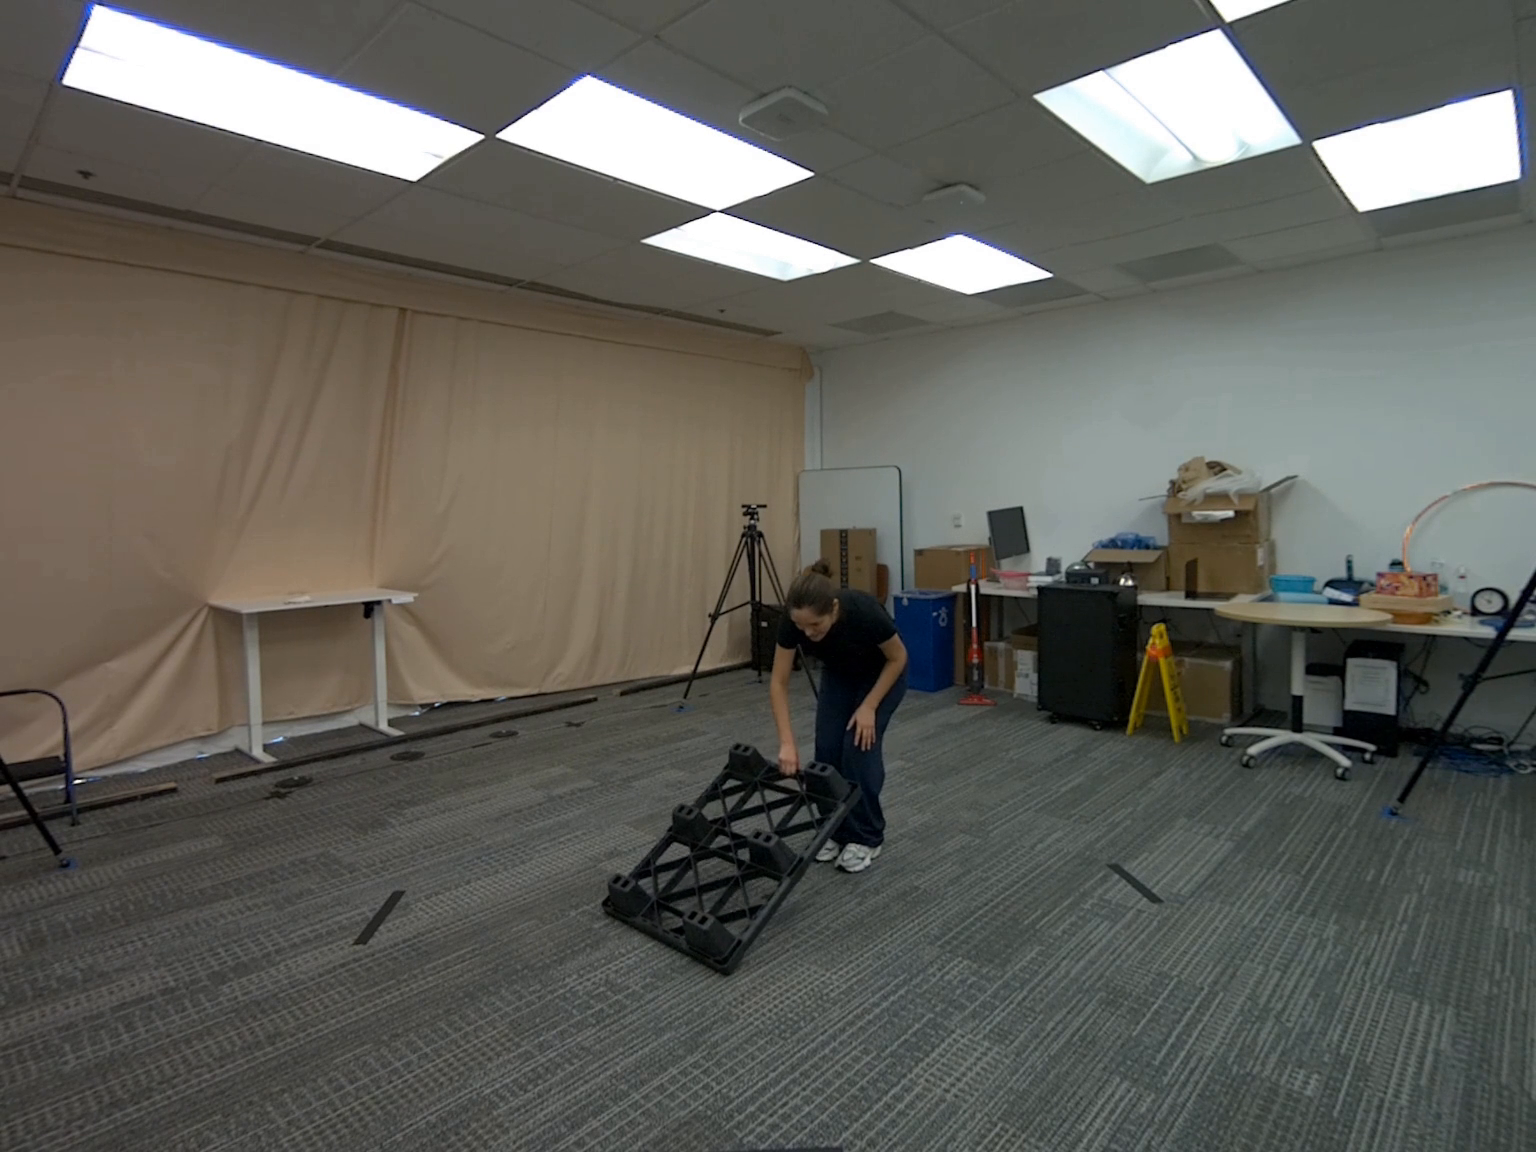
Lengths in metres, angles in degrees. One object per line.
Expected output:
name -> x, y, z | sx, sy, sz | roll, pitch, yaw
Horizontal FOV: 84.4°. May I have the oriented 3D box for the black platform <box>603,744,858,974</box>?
black platform -> -0.120, 0.914, 2.907 | 0.625, 0.140, 0.796 | 2, 34, 42
